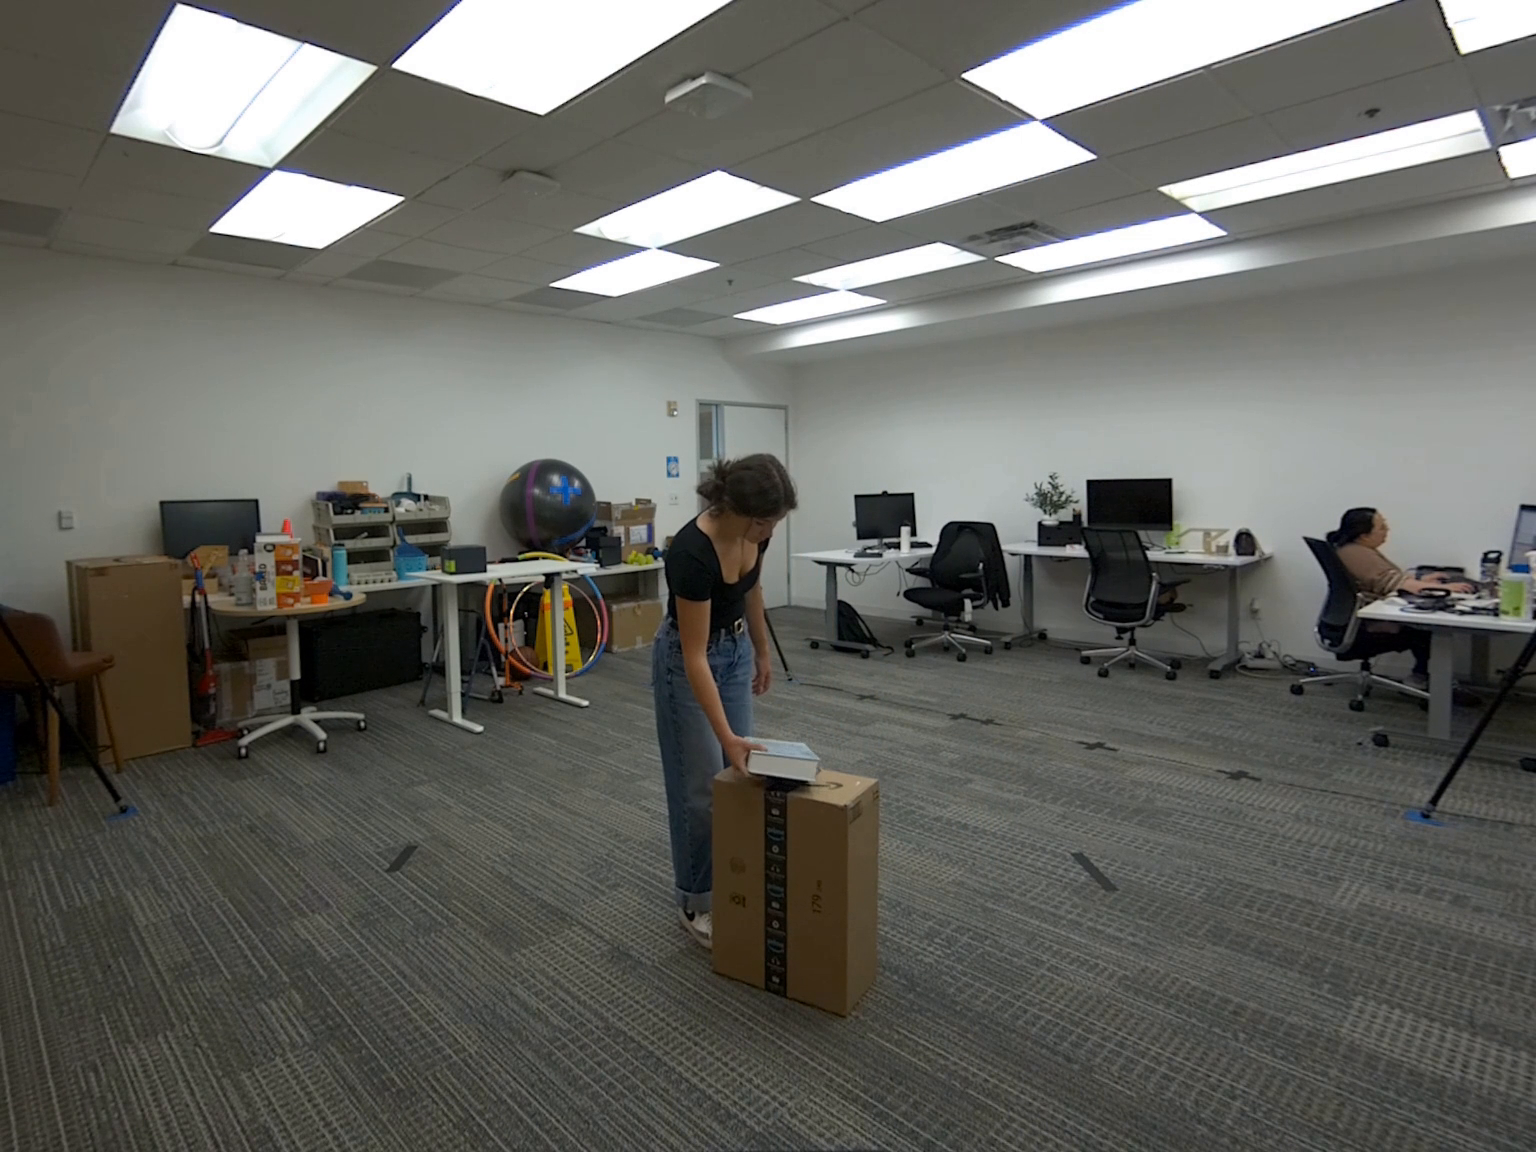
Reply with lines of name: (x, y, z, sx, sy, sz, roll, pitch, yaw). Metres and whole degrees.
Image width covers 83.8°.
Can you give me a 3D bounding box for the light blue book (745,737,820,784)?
light blue book: (0.032, 0.513, 2.387, 0.191, 0.059, 0.261, 7, -2, -4)
